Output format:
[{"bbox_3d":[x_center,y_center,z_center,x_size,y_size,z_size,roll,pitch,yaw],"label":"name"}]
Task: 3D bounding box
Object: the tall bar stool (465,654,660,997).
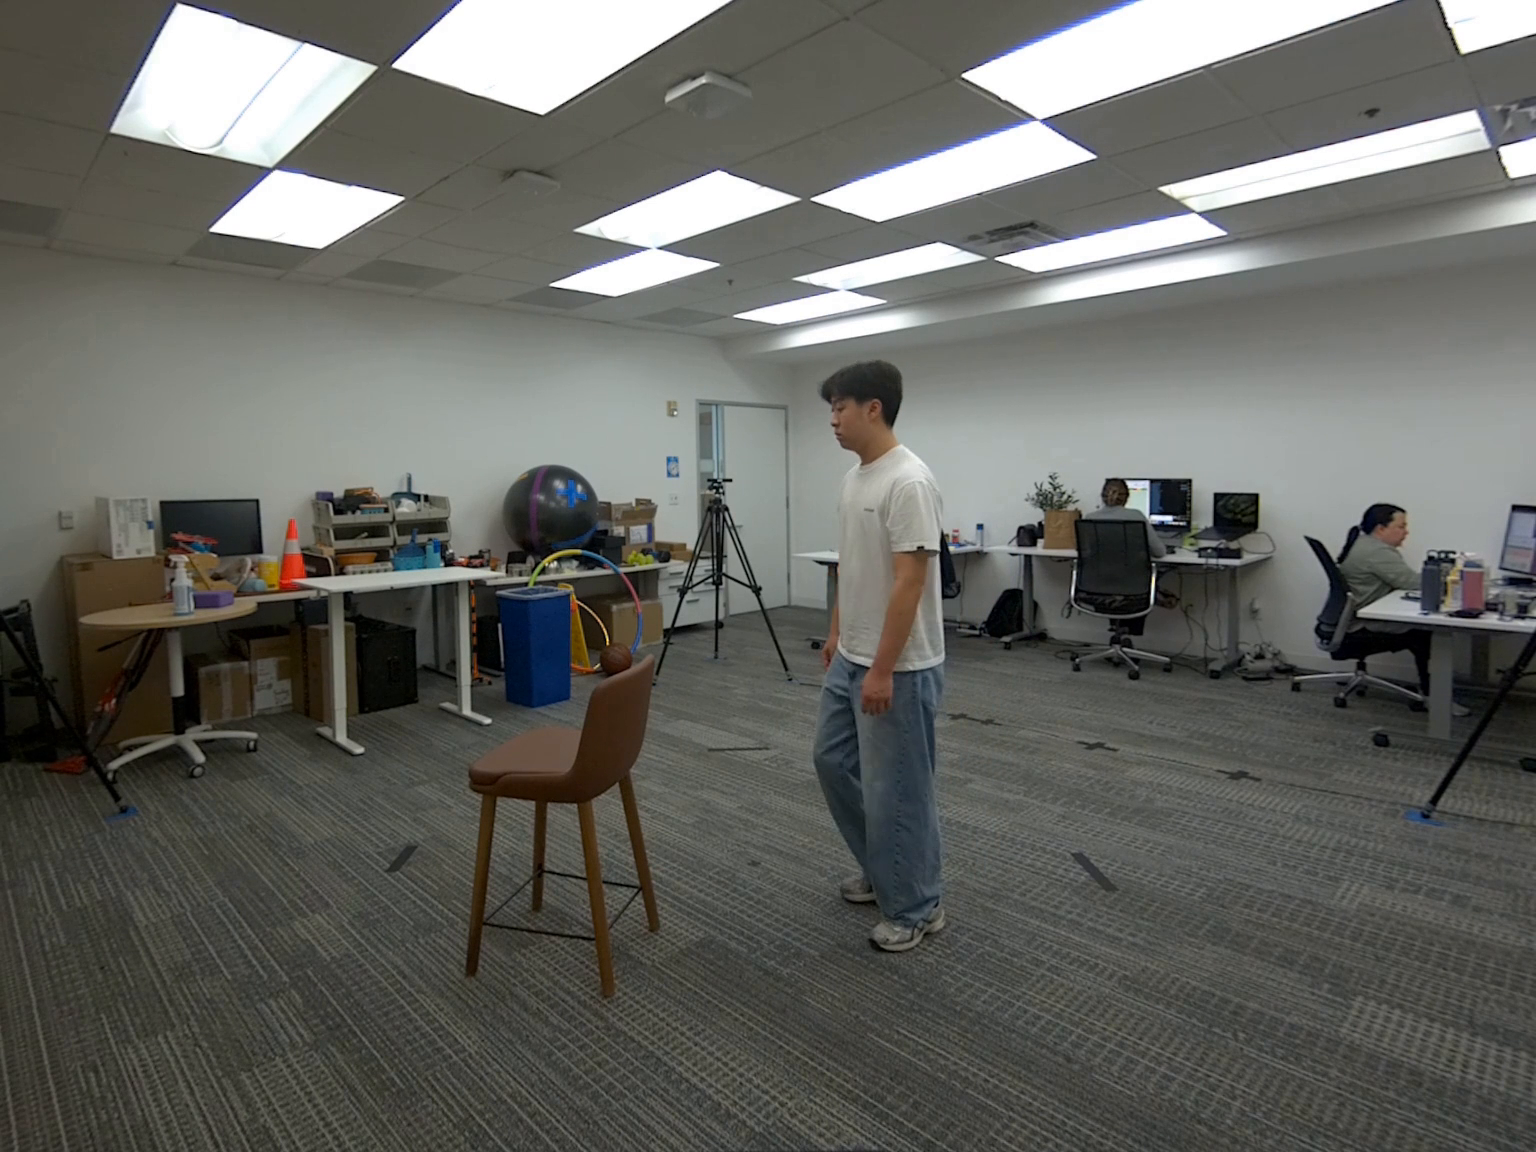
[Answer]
[{"bbox_3d":[-0.590,0.684,2.521,0.475,0.885,0.451,3,6,16],"label":"tall bar stool"}]
